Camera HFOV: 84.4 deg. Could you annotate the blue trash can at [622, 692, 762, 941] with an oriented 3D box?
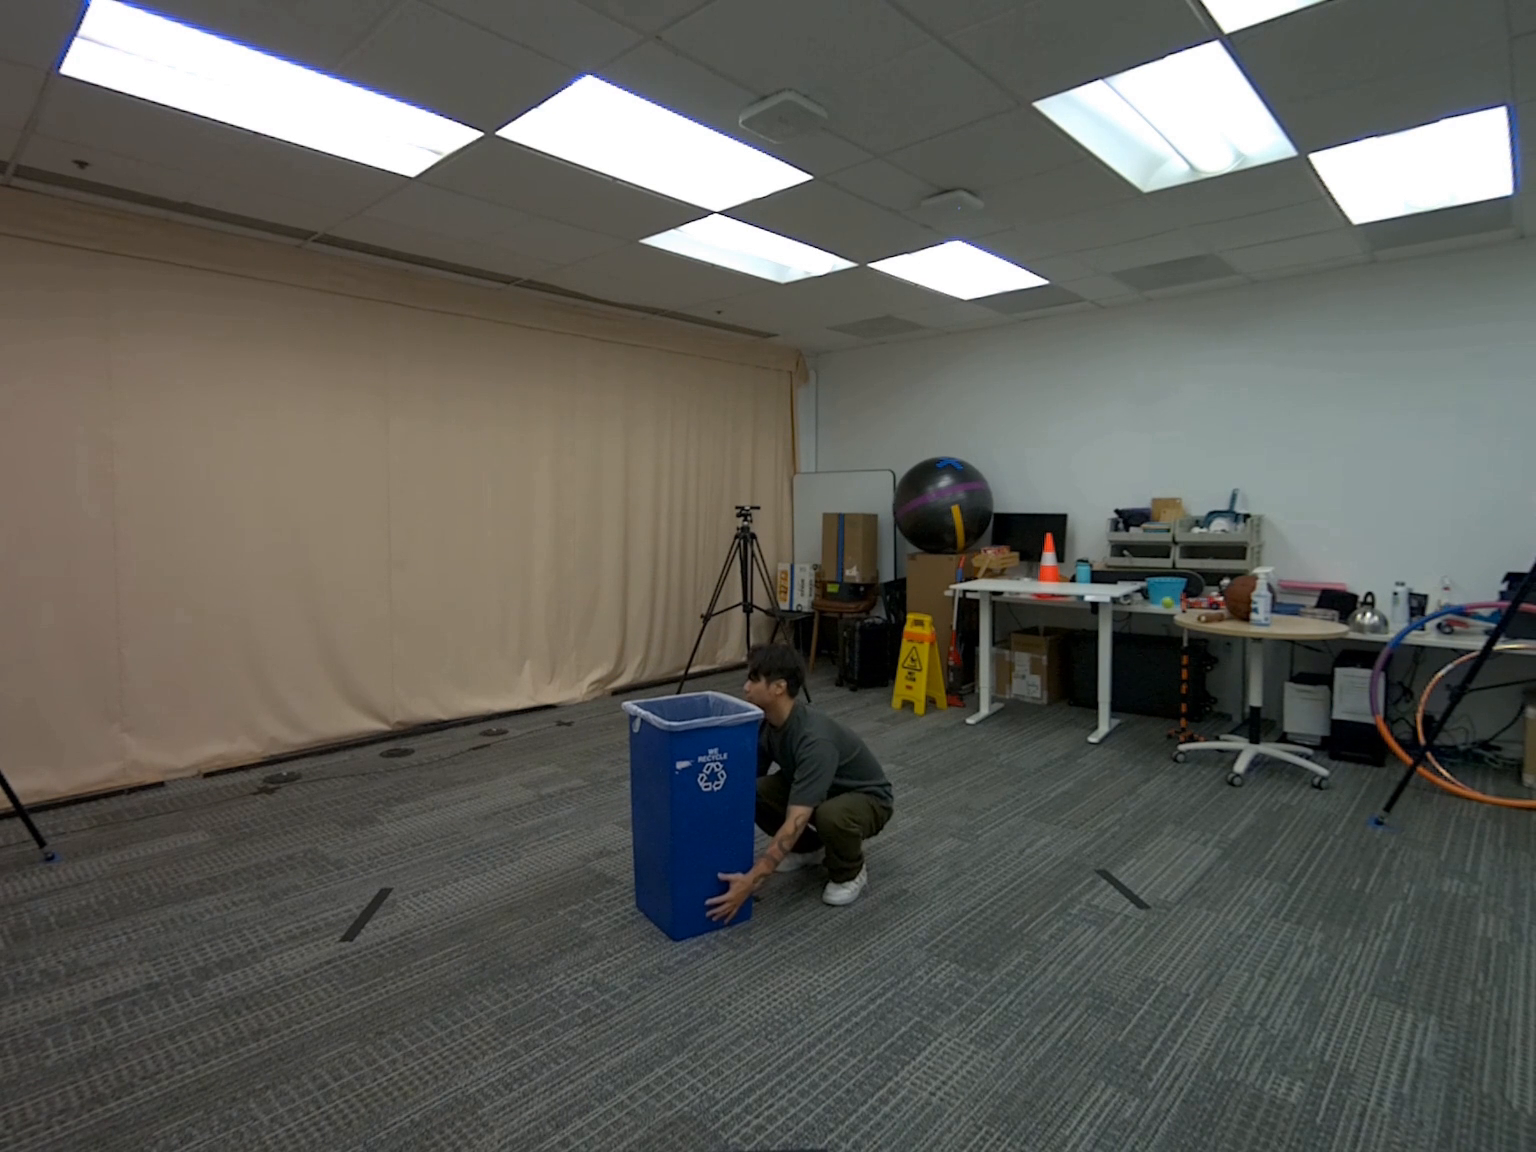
[{"bbox_3d":[-0.252,0.797,2.862,0.367,0.712,0.385,-2,3,-33],"label":"blue trash can"}]
